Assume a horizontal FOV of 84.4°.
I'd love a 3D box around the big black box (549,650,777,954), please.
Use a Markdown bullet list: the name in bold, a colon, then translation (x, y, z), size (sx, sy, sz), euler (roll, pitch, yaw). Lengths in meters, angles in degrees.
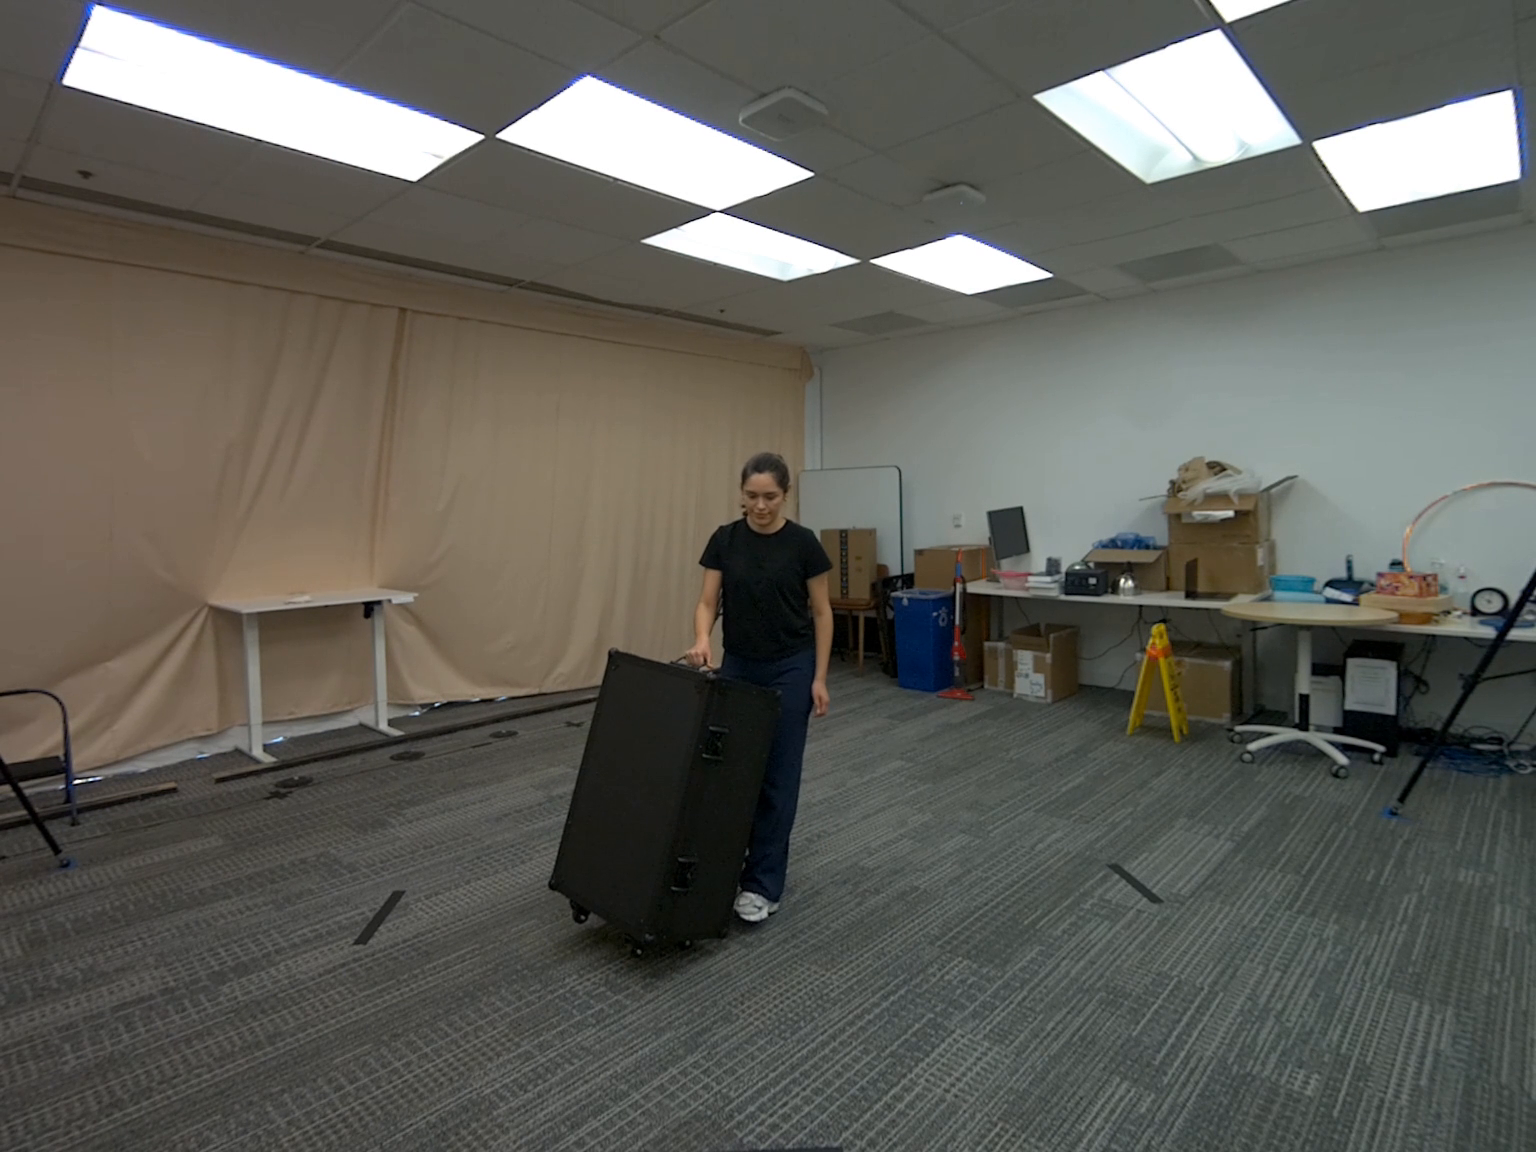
- **big black box**: translation (-0.299, 0.671, 2.732), size (0.539, 0.864, 0.382), euler (6, -11, 42)
